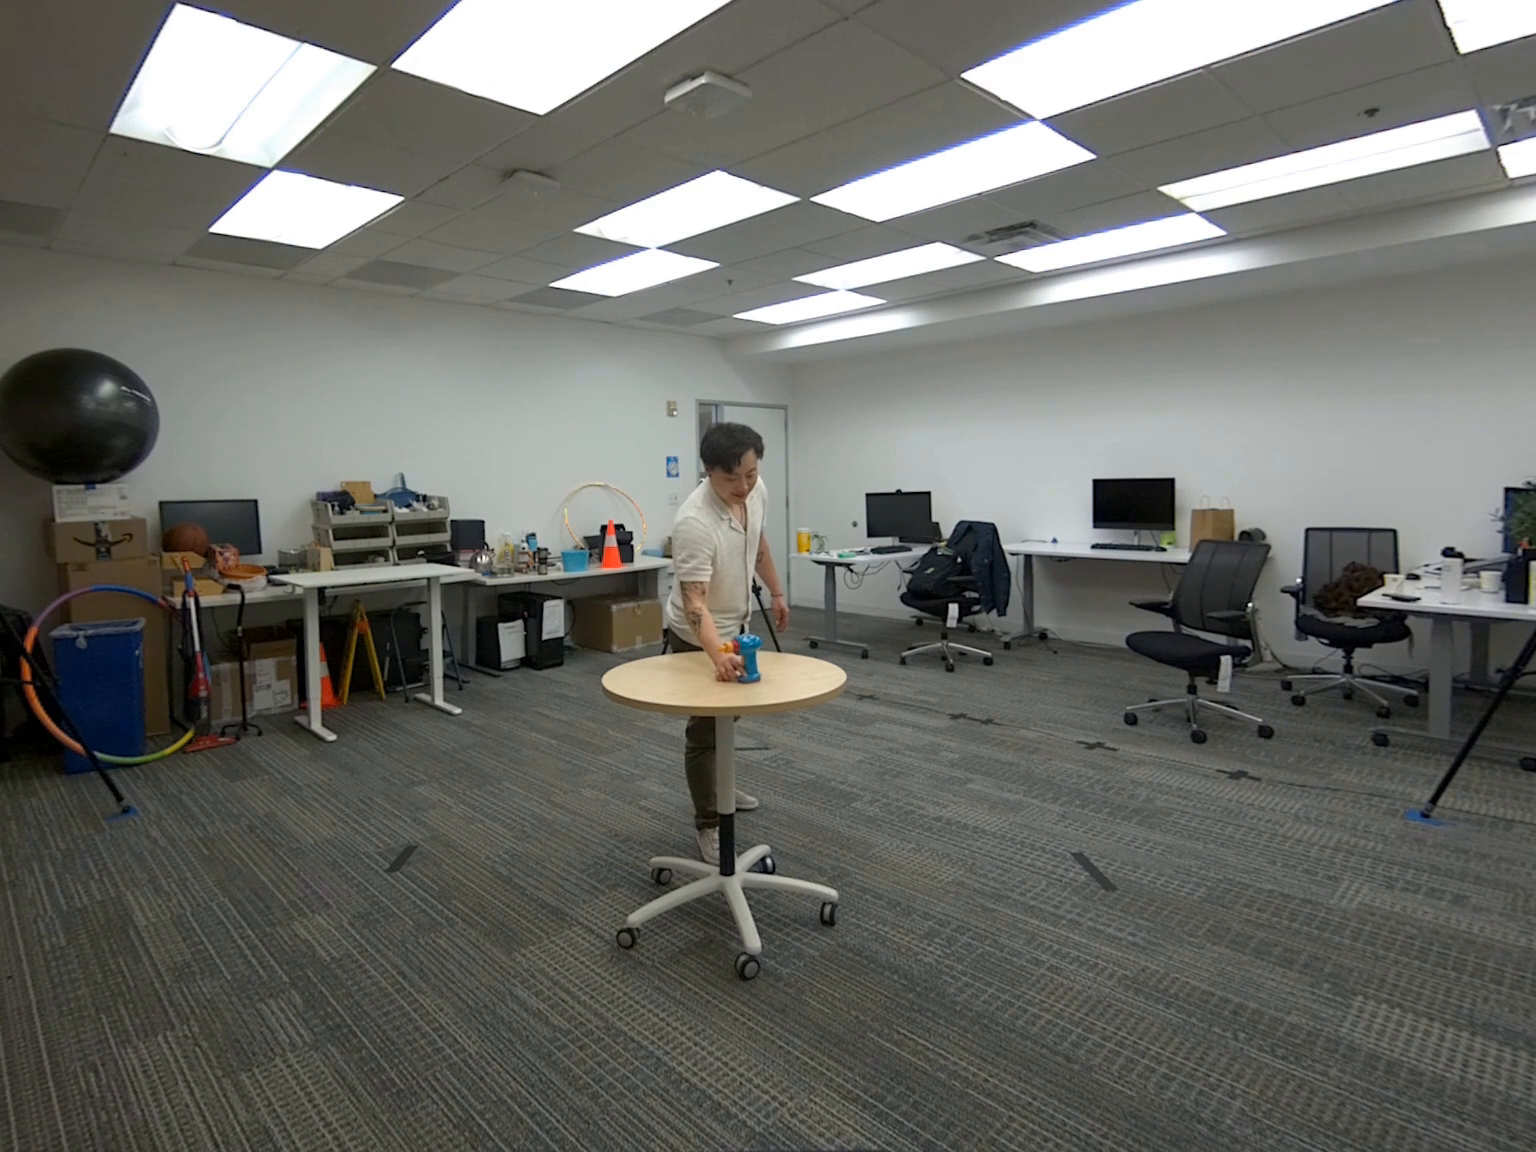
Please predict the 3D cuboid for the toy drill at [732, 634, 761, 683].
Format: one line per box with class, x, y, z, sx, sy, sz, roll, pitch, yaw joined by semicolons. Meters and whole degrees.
toy drill;-0.083;0.251;2.580;0.165;0.145;0.063;-8;9;-42
